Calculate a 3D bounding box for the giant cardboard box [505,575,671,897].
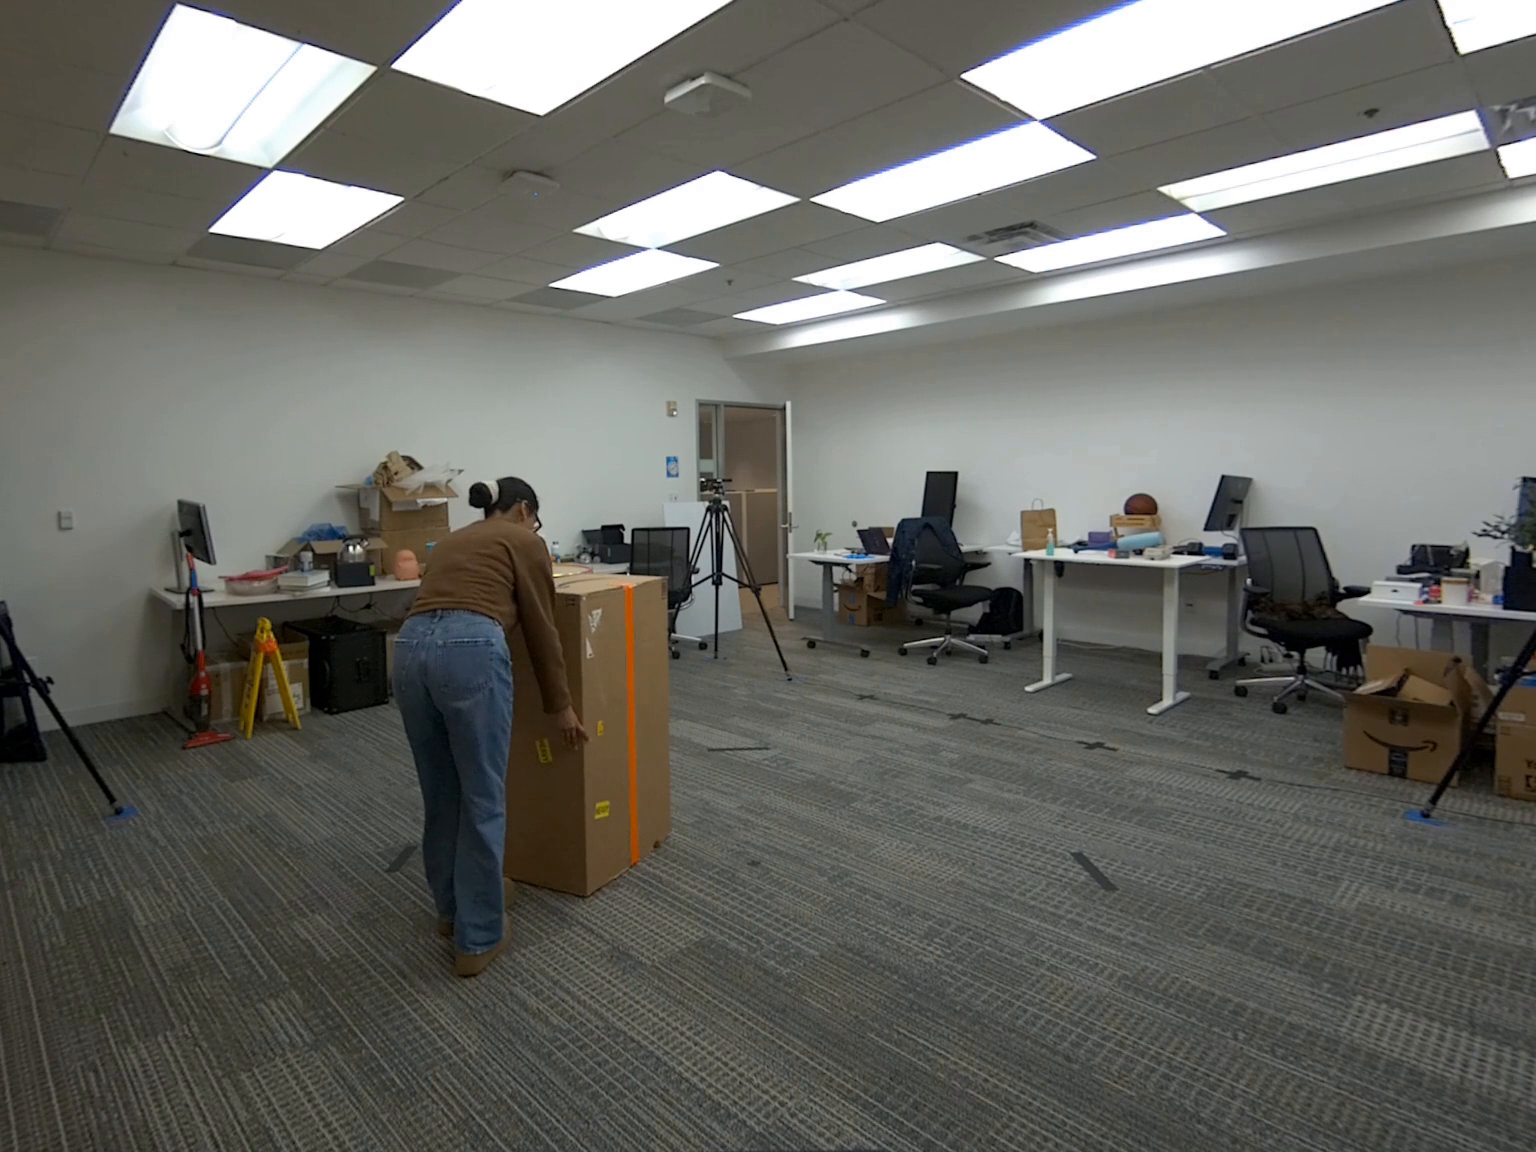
[{"bbox_3d":[-0.690,0.537,3.180,0.436,1.023,0.566,1,4,25],"label":"giant cardboard box"}]
